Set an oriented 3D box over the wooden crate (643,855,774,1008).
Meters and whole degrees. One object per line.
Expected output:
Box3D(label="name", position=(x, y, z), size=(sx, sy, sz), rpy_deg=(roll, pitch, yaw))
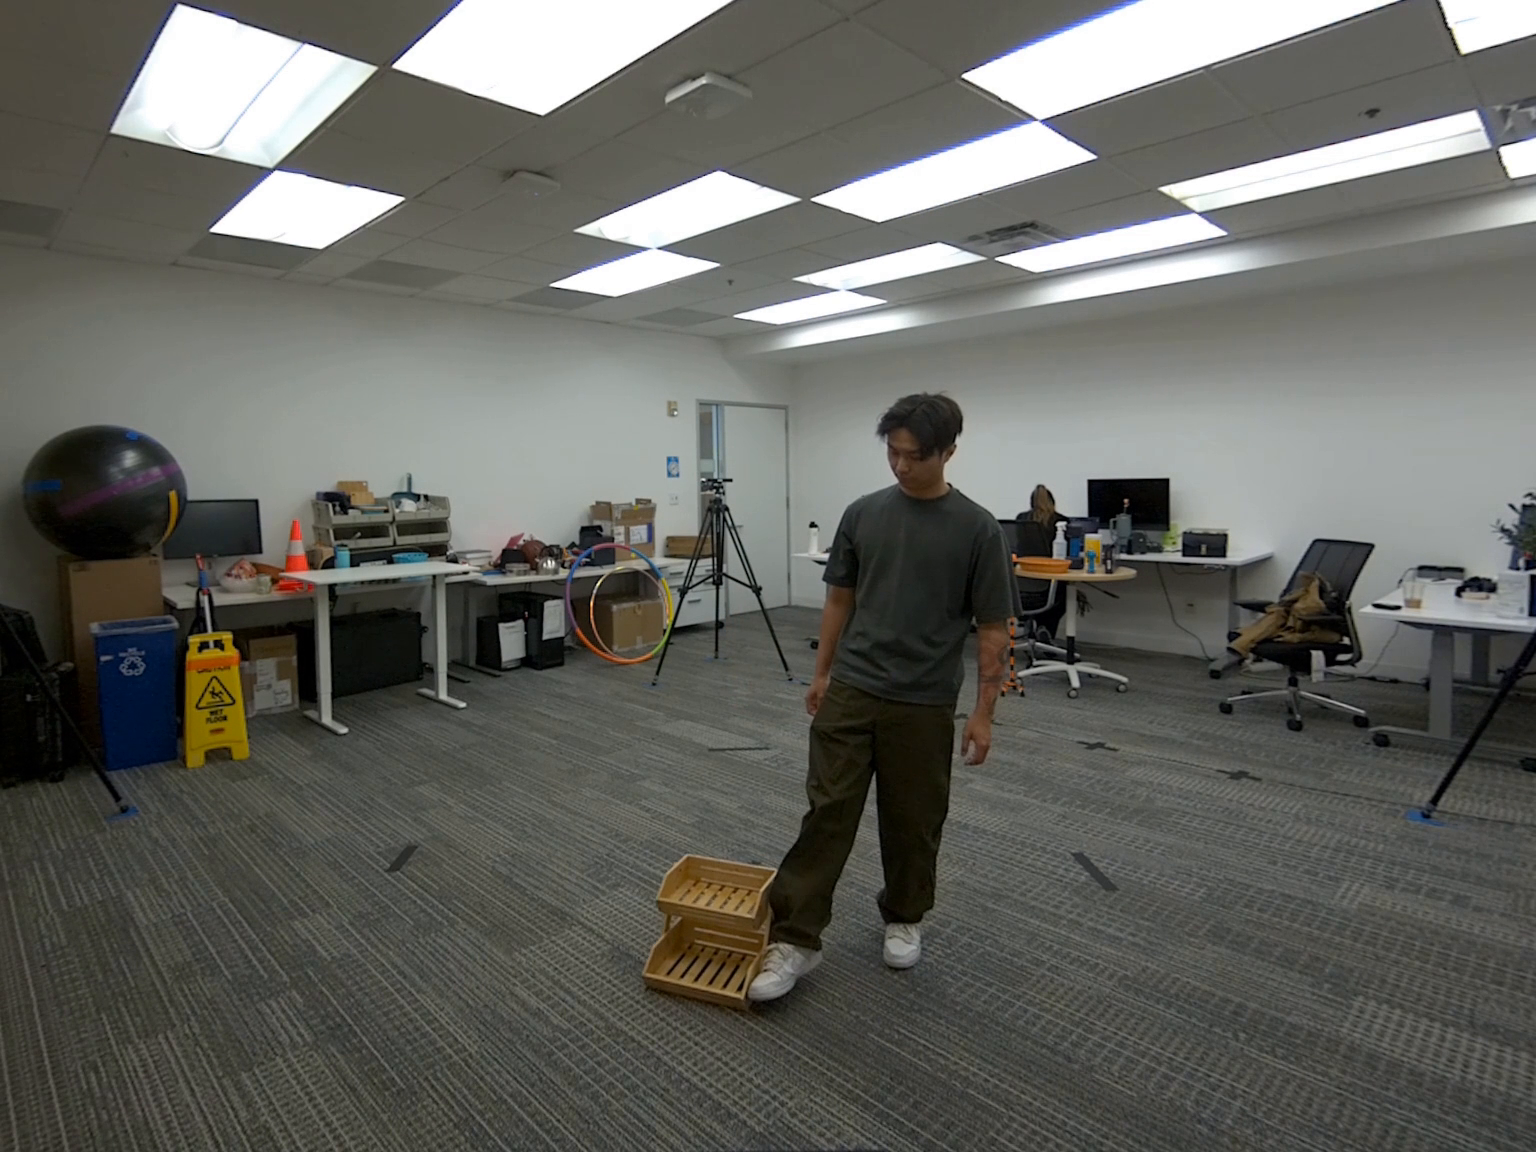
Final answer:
Box3D(label="wooden crate", position=(-0.147, 0.995, 2.410), size=(0.331, 0.272, 0.297), rpy_deg=(1, 5, 22))
